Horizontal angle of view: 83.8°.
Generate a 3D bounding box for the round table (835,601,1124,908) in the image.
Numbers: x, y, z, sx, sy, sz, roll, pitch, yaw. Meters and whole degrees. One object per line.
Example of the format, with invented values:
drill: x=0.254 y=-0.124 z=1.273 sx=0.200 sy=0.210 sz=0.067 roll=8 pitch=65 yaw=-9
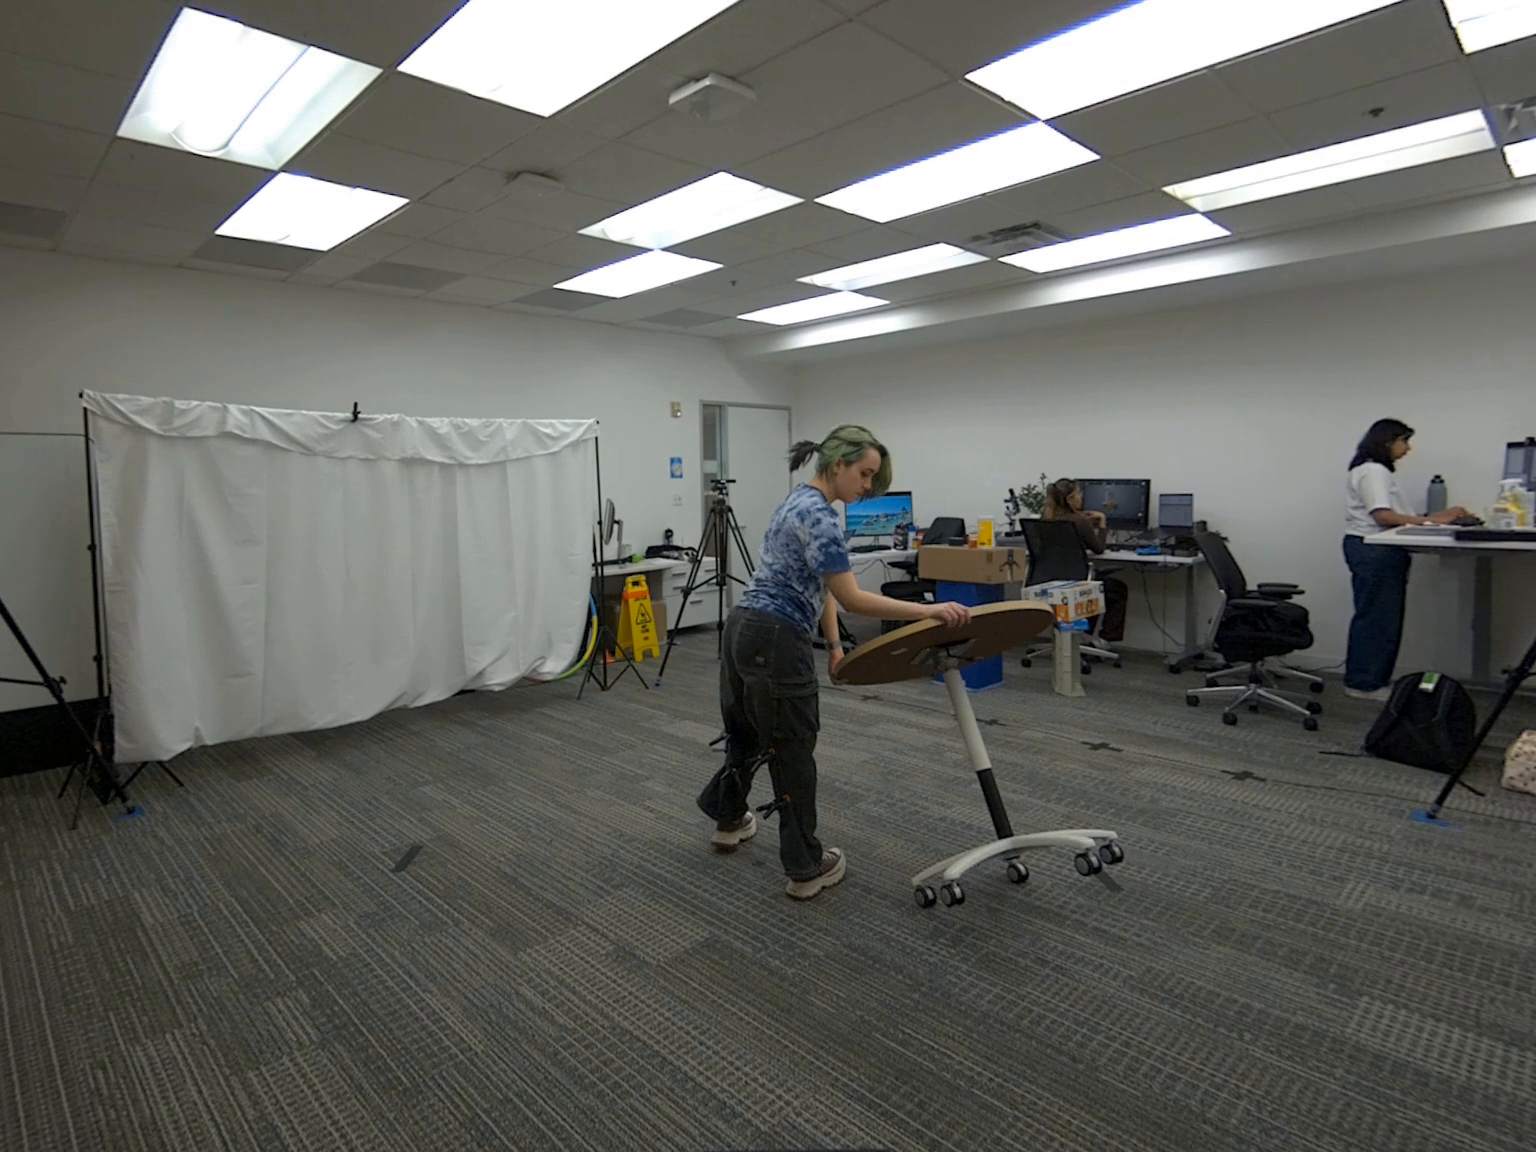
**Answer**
round table: x=0.698 y=0.597 z=2.794 sx=0.760 sy=0.813 sz=0.750 roll=-11 pitch=-22 yaw=-6
